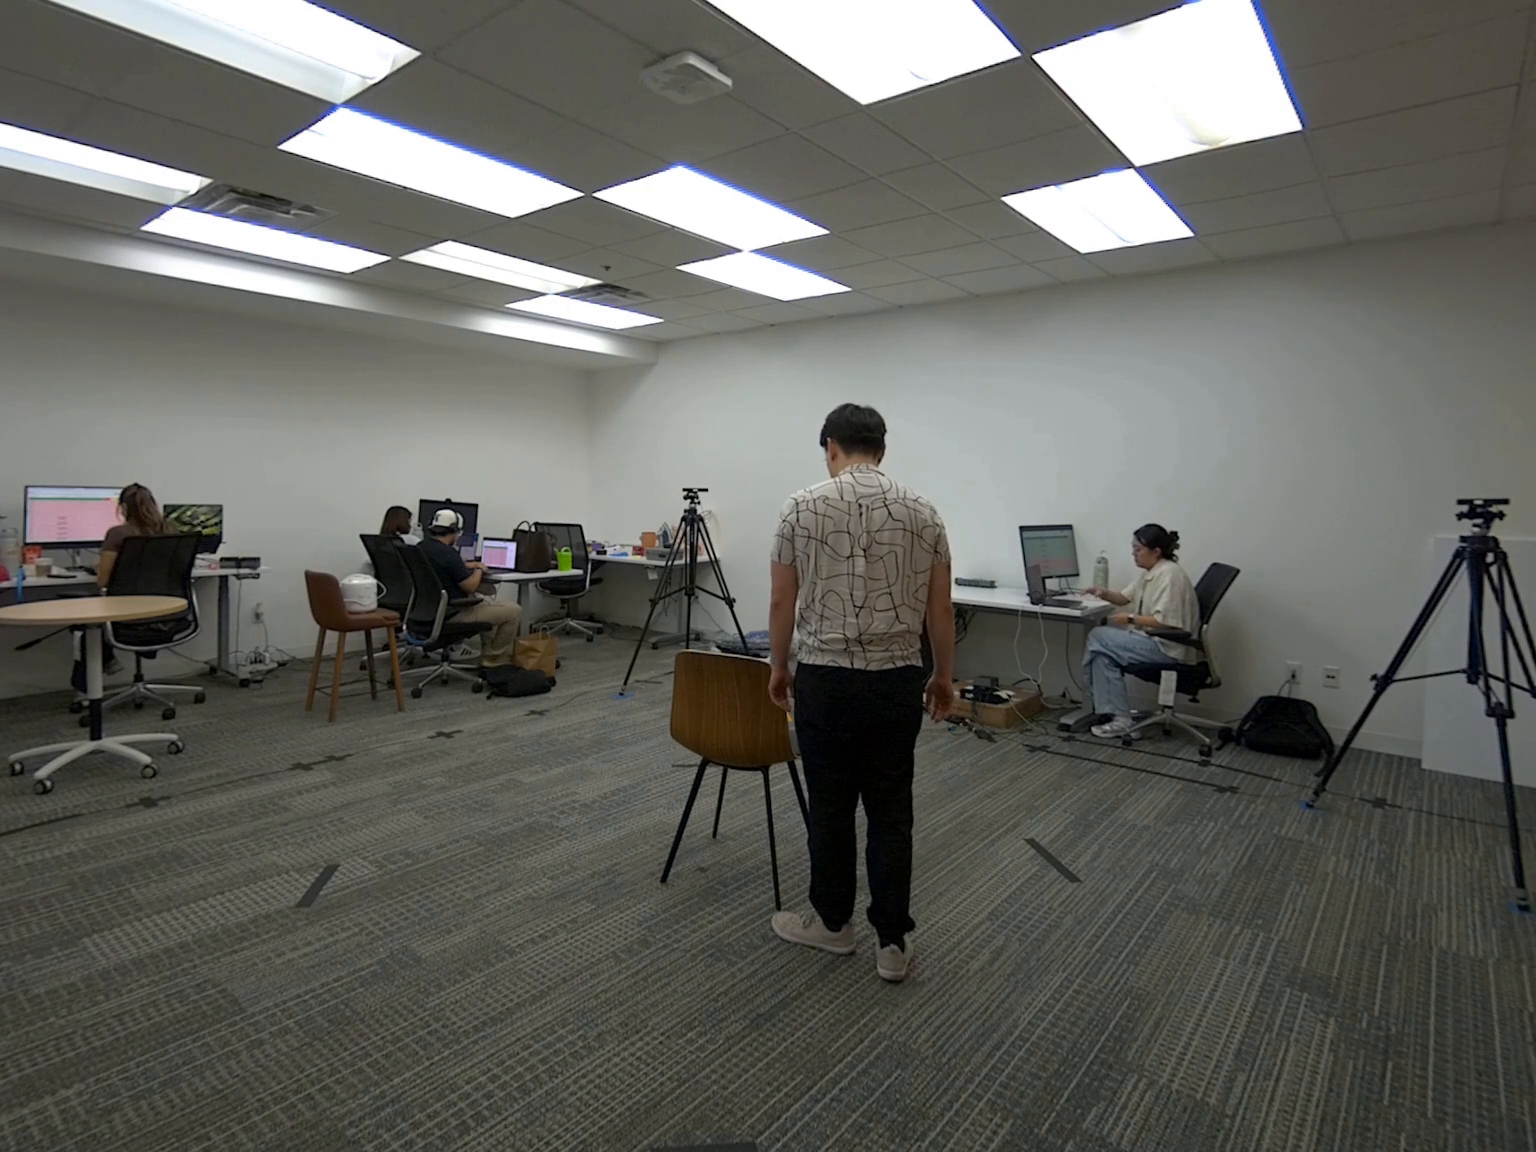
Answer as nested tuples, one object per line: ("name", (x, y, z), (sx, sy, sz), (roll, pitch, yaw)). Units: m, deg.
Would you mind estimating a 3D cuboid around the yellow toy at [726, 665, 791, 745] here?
("yellow toy", (-0.040, 0.473, 3.139), (0.203, 0.229, 0.196), (-3, 8, -8))
